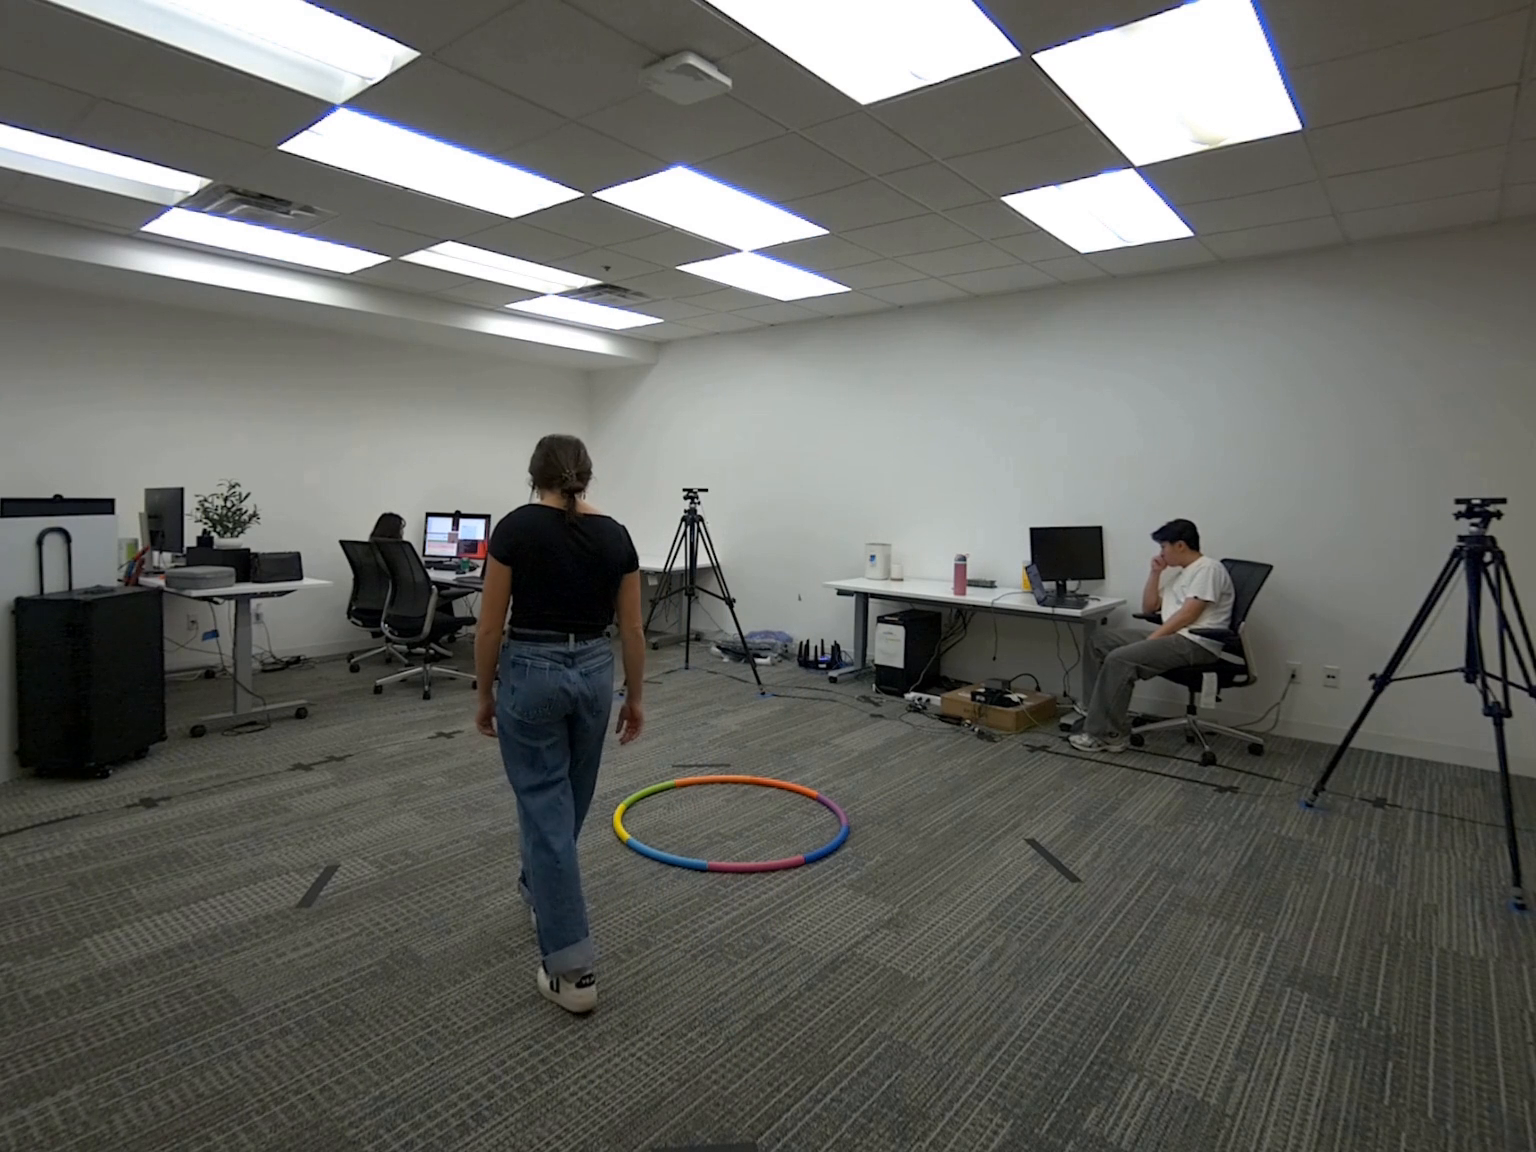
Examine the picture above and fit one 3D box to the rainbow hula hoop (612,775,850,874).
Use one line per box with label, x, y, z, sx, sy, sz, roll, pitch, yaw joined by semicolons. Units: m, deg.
rainbow hula hoop;-0.153;0.992;3.564;0.978;0.035;0.985;1;6;-2
